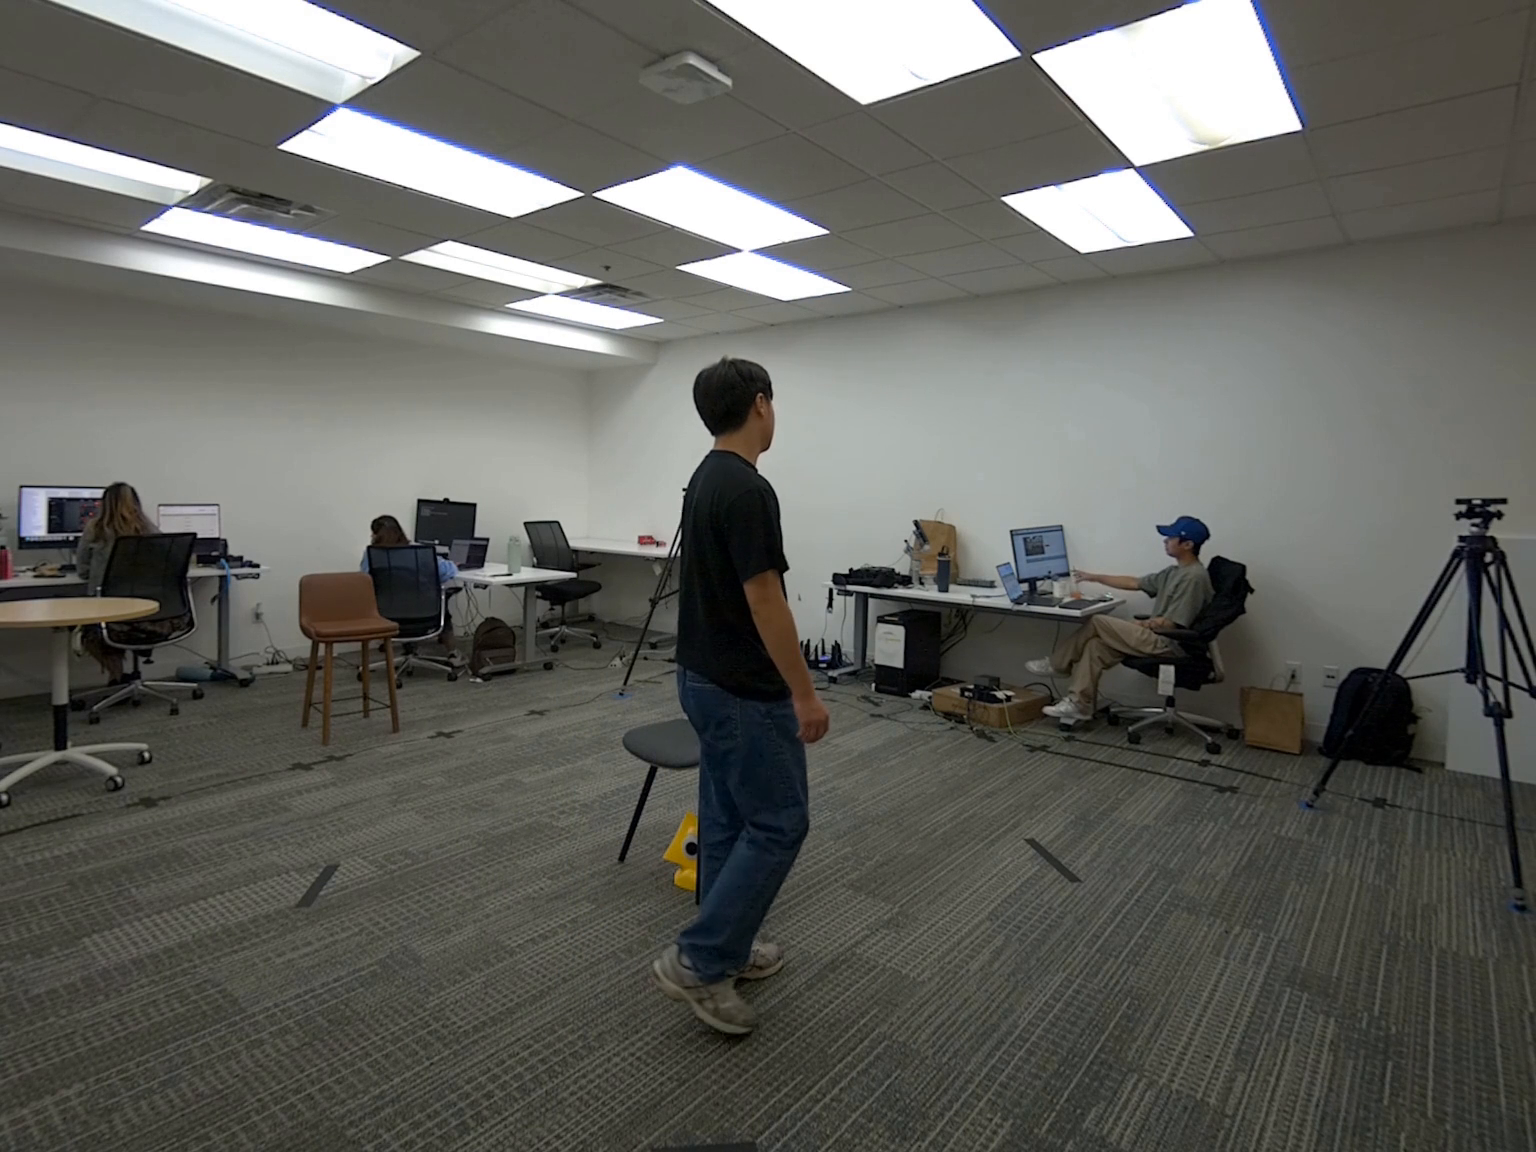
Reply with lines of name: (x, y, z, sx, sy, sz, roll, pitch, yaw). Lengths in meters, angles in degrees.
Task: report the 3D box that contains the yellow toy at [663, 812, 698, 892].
yellow toy: (-0.246, 0.959, 3.035, 0.199, 0.230, 0.198, 4, 4, 38)
